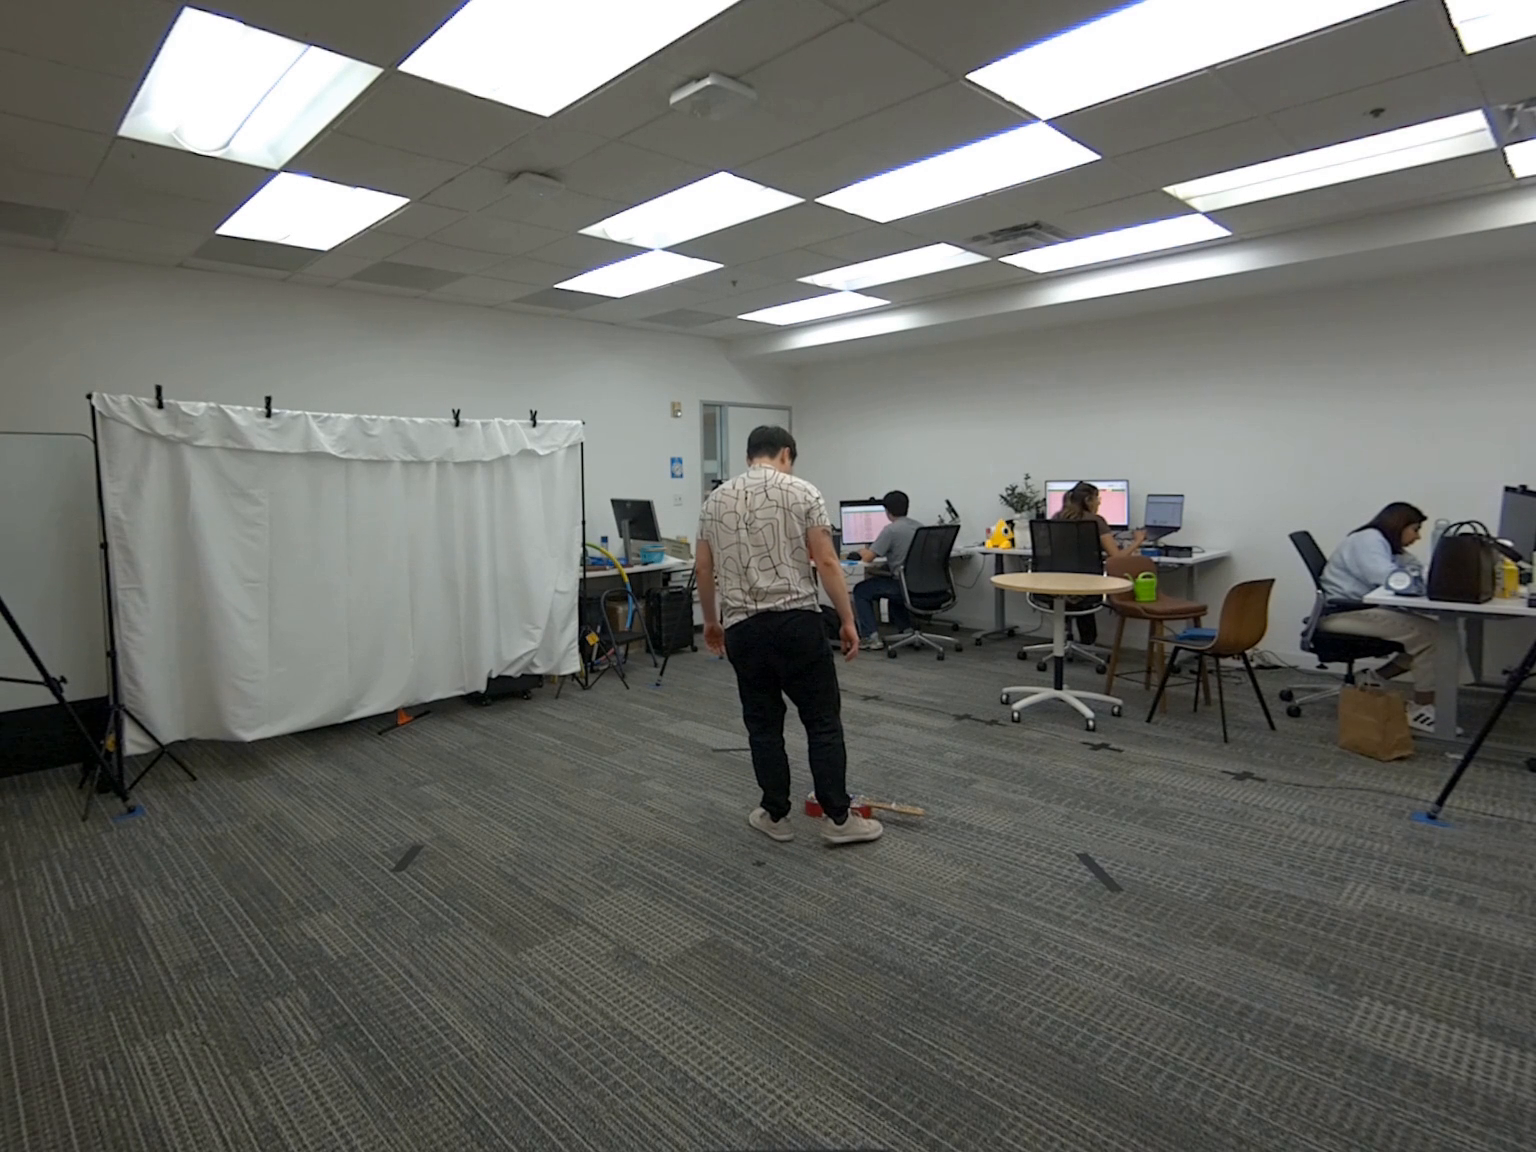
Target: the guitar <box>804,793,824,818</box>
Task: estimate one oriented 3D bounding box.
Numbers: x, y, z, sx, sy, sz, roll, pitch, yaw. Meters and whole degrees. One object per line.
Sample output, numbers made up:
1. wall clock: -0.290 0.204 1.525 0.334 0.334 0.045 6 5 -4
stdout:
1. guitar: 0.391 0.961 3.505 0.512 0.070 0.188 3 7 36
